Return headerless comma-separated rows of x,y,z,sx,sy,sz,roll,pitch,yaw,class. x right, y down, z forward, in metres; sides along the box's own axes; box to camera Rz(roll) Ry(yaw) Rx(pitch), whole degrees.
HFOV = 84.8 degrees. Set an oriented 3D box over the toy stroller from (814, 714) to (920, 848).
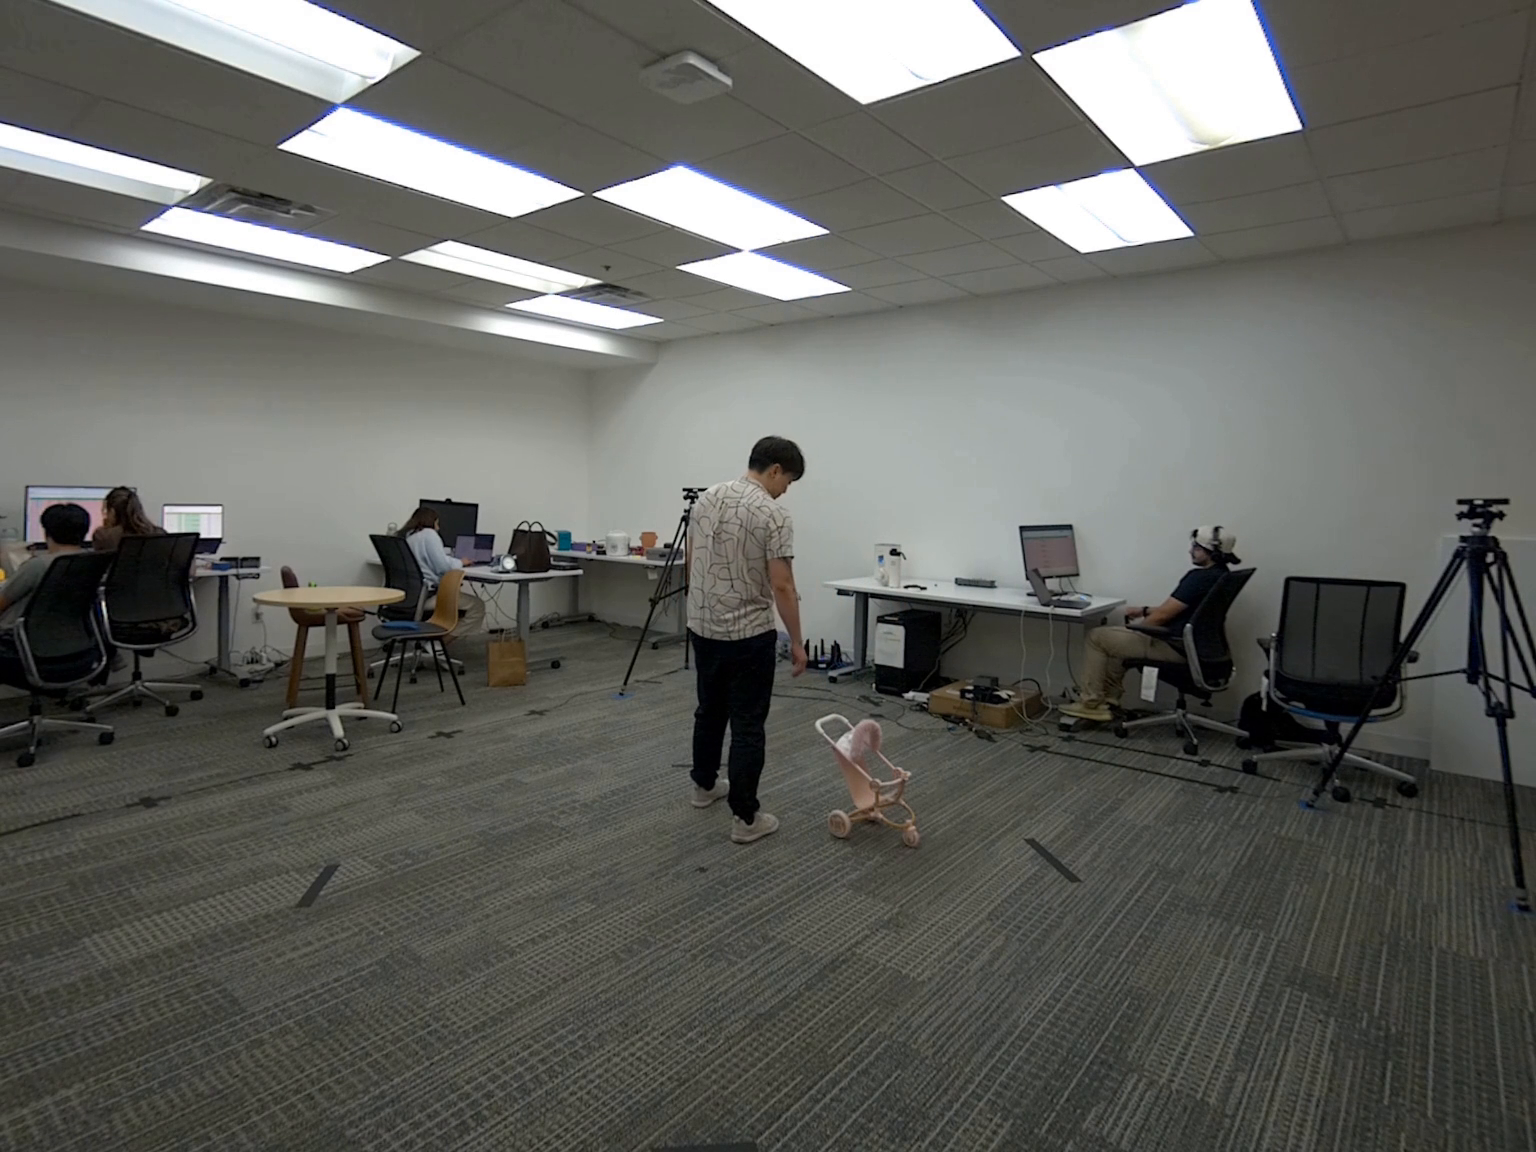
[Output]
0.410,0.823,3.467,0.349,0.540,0.273,-17,-9,43,toy stroller
